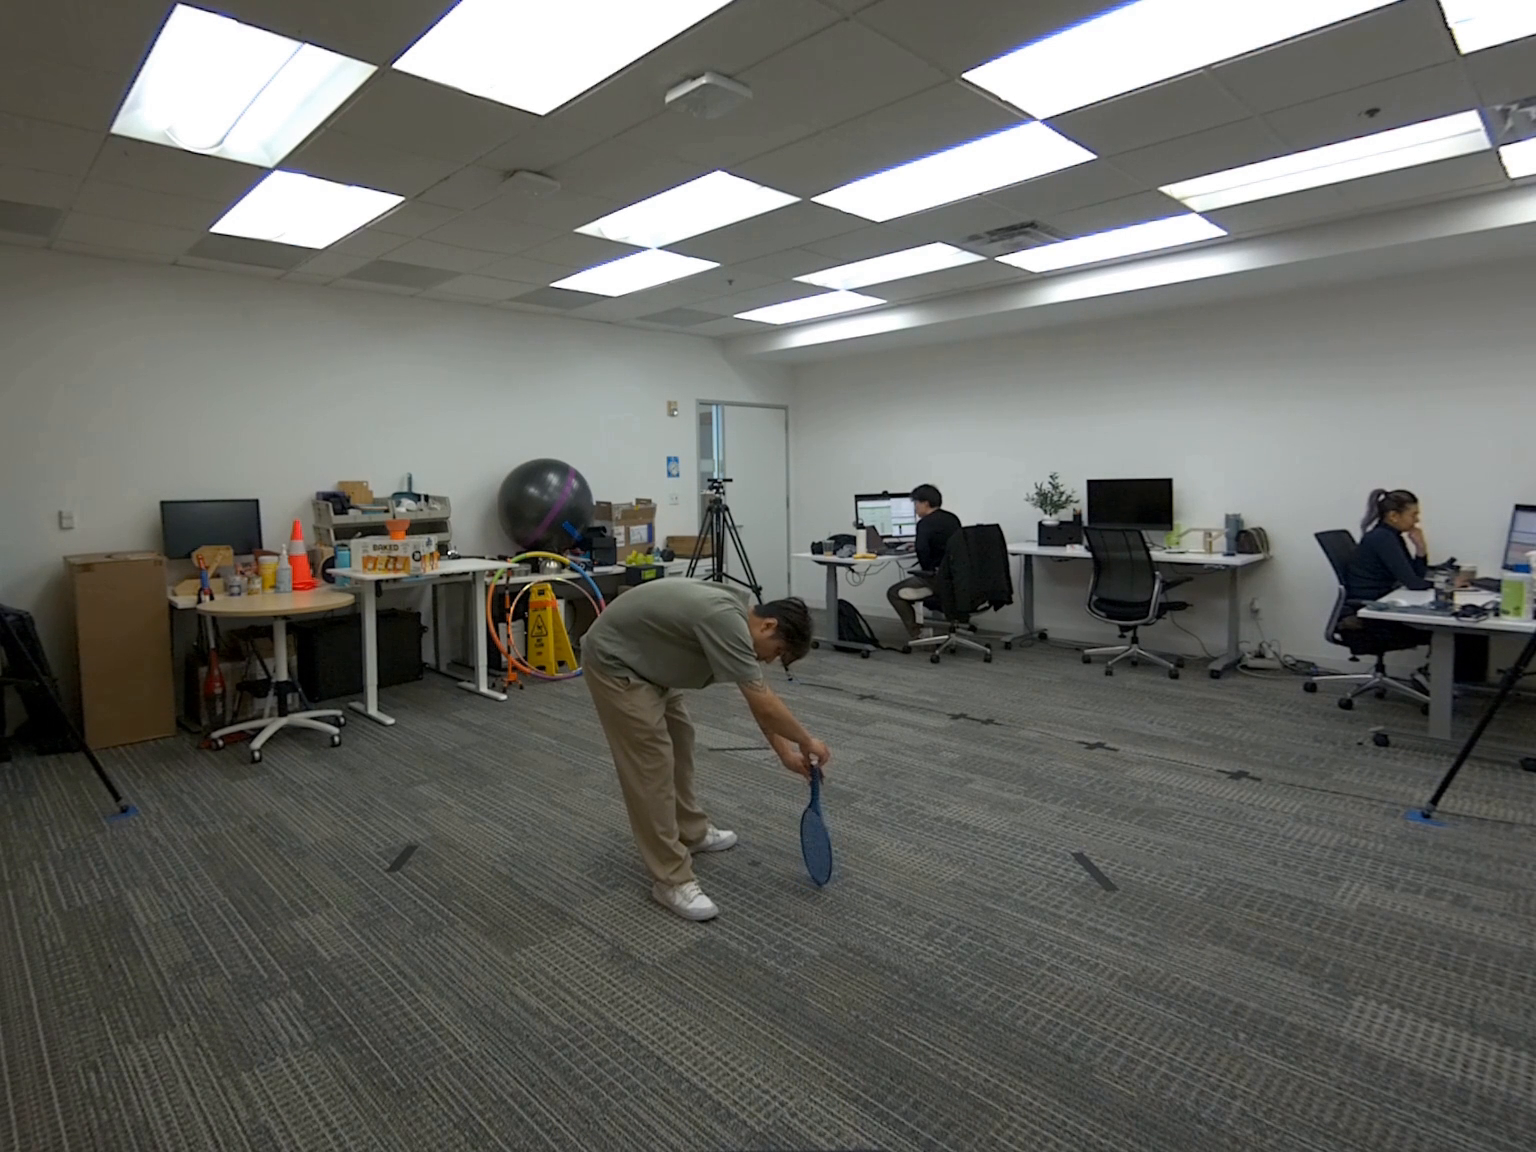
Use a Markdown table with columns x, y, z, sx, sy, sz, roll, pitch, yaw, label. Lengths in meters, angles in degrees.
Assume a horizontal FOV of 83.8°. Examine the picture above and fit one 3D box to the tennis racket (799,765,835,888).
| x | y | z | sx | sy | sz | roll | pitch | yaw | label |
| --- | --- | --- | --- | --- | --- | --- | --- | --- | --- |
| 0.165 | 0.845 | 2.920 | 0.031 | 0.429 | 0.219 | -5 | 11 | -21 | tennis racket |
